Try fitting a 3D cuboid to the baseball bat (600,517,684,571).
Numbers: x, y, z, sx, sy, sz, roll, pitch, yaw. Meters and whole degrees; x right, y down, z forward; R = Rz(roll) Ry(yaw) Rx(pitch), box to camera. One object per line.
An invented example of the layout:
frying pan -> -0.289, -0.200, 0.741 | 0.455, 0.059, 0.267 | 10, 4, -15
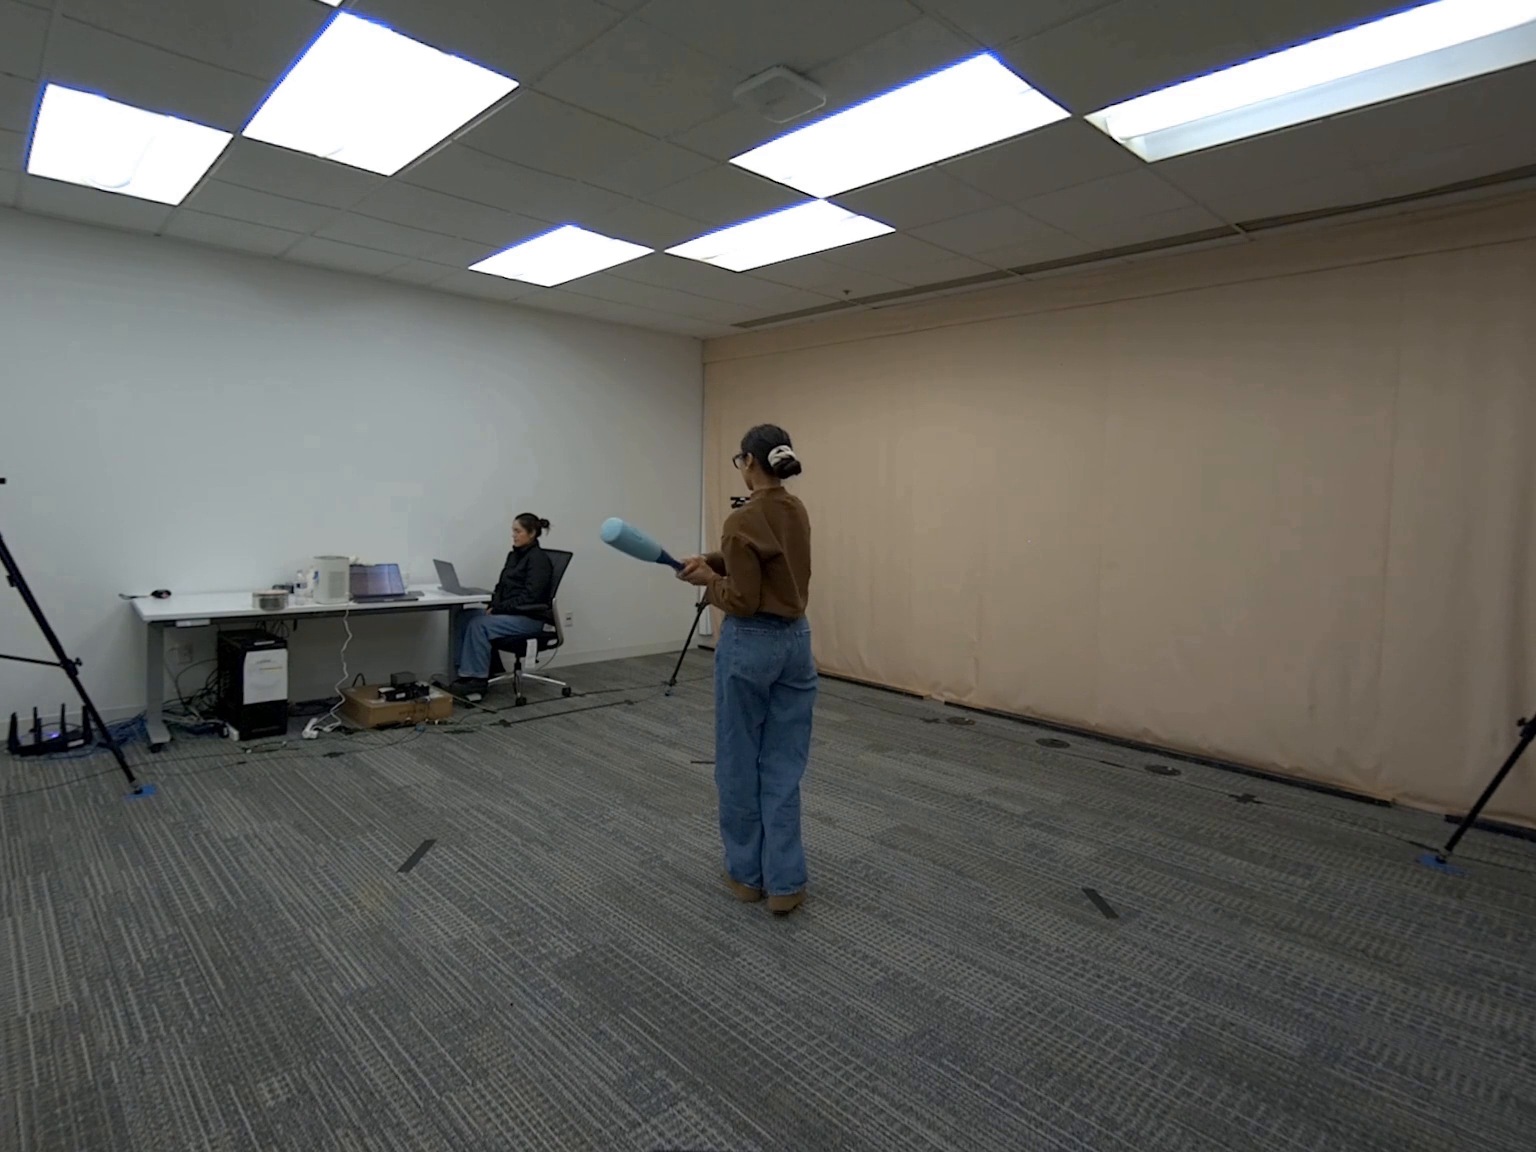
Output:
baseball bat -> -0.372, -0.071, 2.820 | 0.091, 0.090, 0.527 | 4, -13, 29
